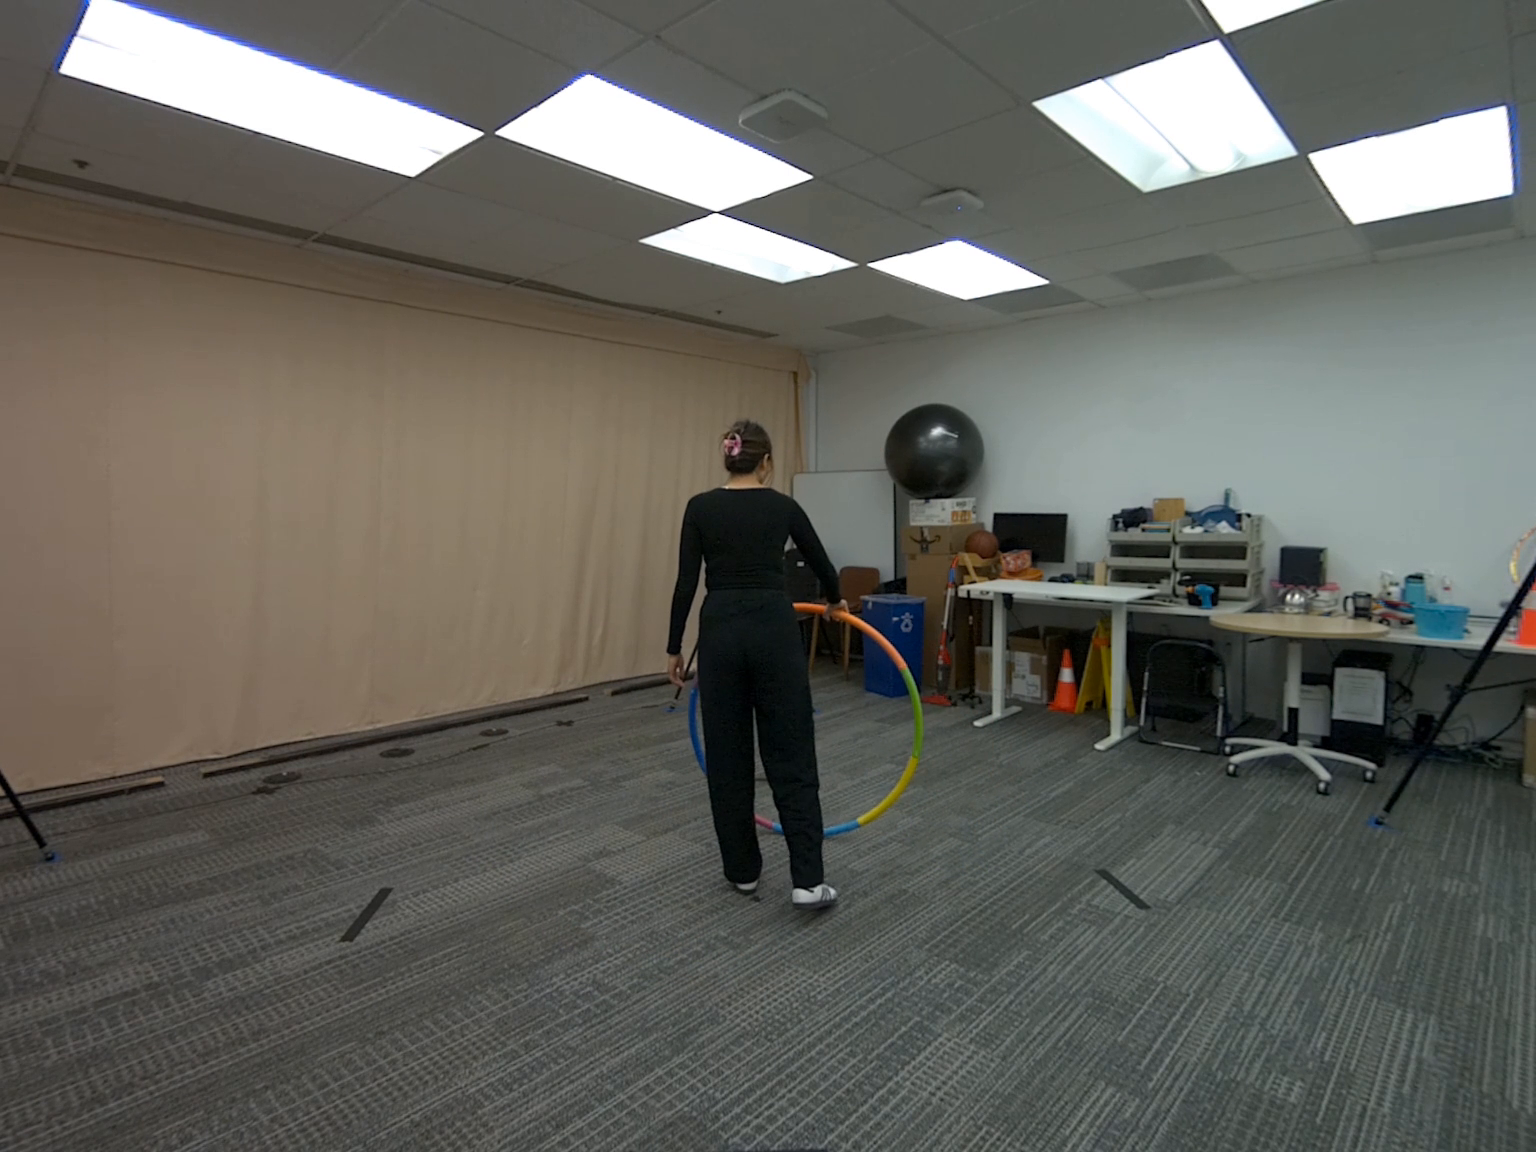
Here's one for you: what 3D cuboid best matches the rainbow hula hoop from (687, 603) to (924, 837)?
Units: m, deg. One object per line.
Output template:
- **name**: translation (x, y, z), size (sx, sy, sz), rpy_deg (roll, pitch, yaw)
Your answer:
- **rainbow hula hoop**: translation (0.146, 0.609, 3.511), size (0.994, 0.976, 0.035), rpy_deg (1, 3, 14)
